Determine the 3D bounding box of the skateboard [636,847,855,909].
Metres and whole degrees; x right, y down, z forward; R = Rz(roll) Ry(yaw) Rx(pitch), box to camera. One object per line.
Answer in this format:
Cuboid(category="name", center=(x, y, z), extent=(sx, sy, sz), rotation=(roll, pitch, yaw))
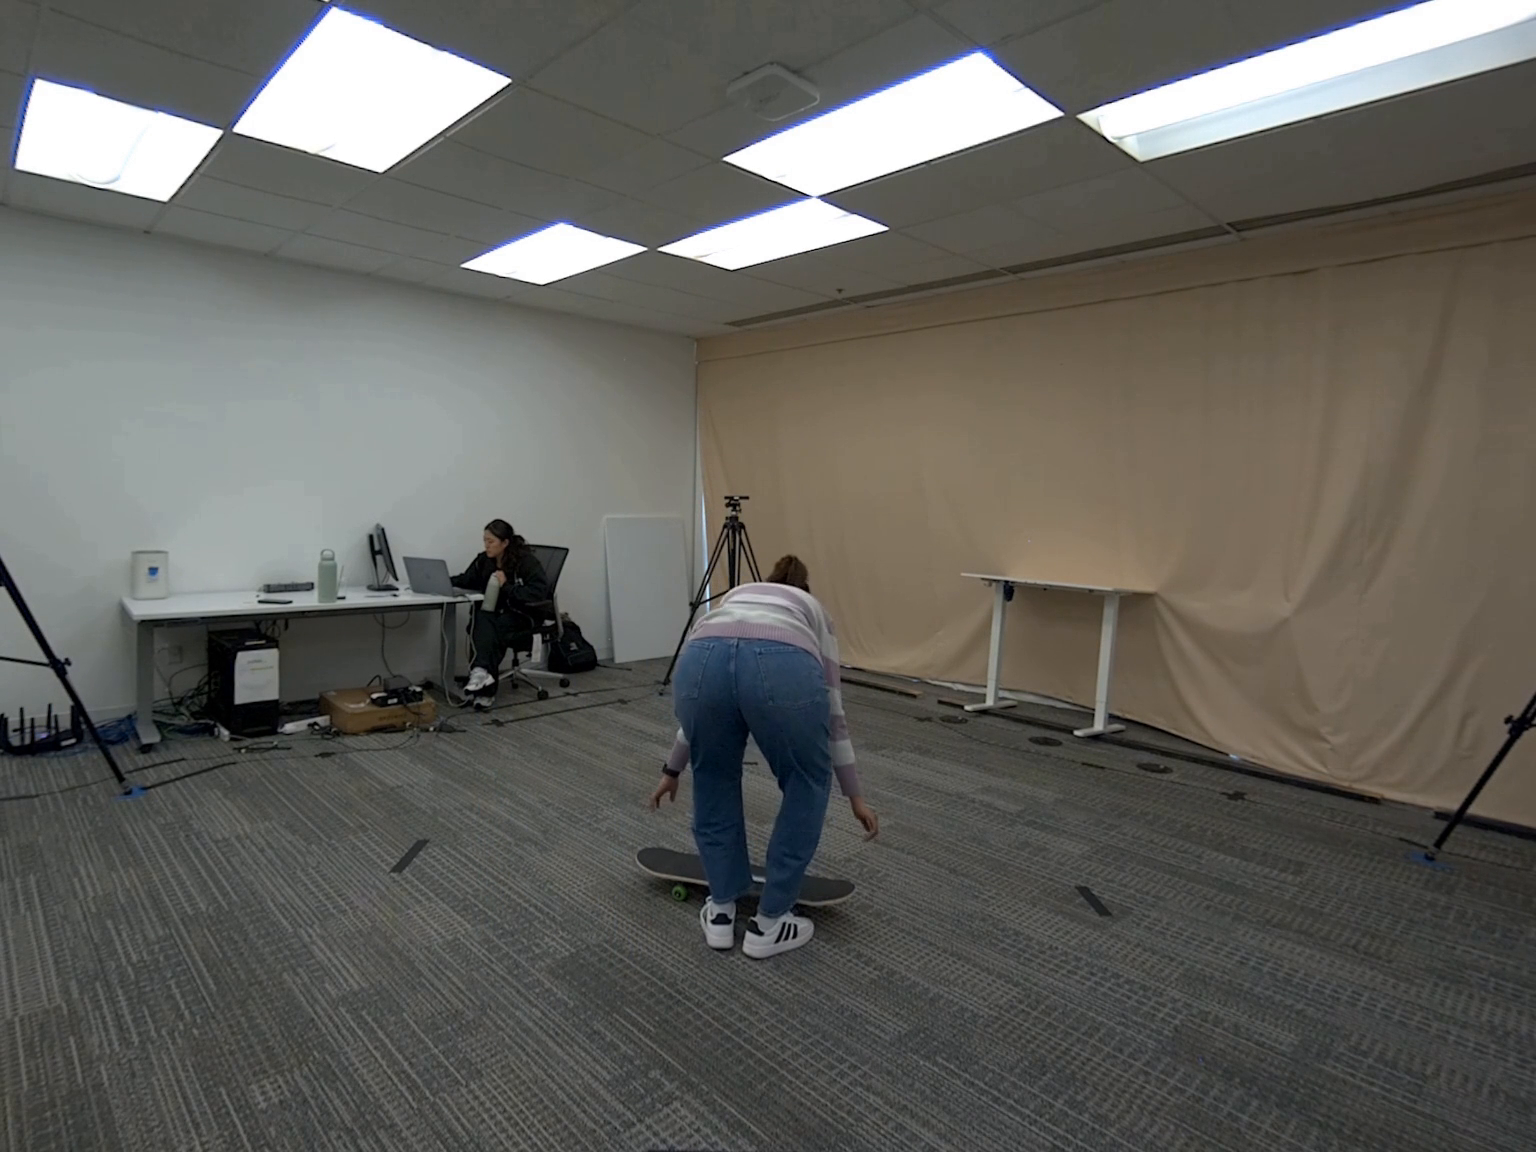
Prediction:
Cuboid(category="skateboard", center=(-0.099, 1.066, 2.903), extent=(0.798, 0.110, 0.191), rotation=(3, 5, 20))
